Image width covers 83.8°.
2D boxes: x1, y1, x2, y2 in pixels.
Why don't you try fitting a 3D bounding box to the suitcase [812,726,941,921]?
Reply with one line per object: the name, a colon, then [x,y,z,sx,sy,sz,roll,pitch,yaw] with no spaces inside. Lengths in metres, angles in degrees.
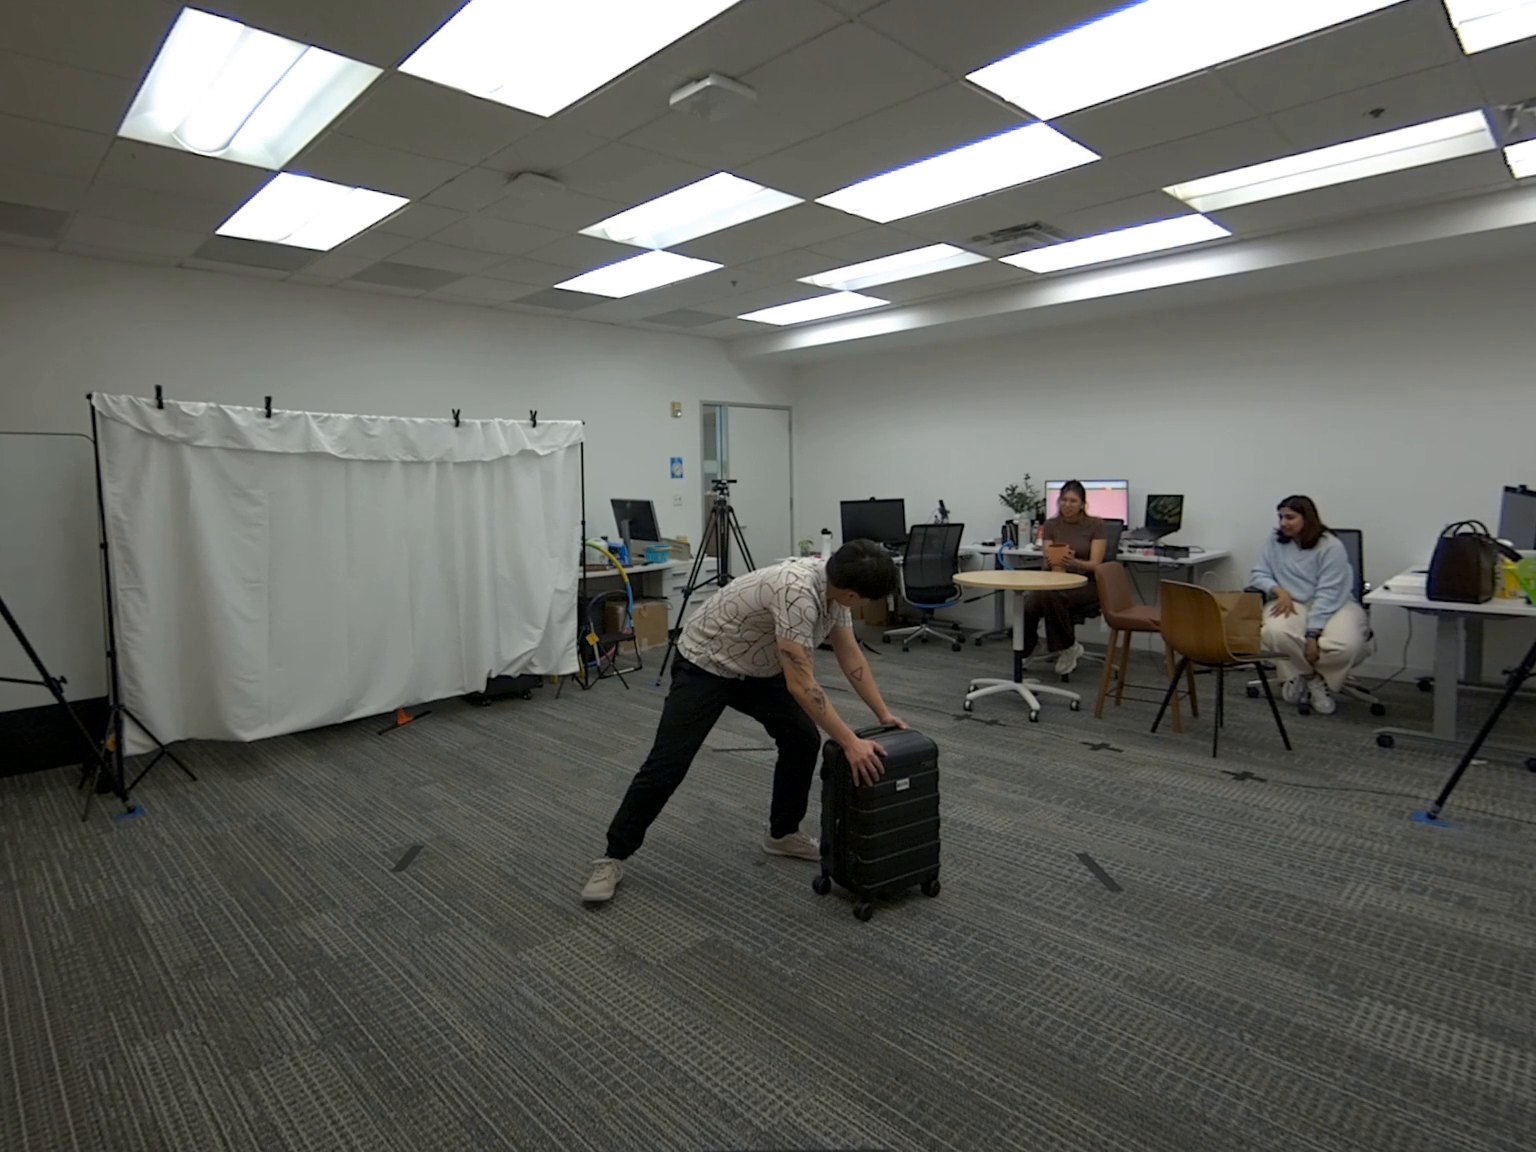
suitcase: [0.381,0.790,2.866,0.366,0.548,0.255,-1,3,-31]
